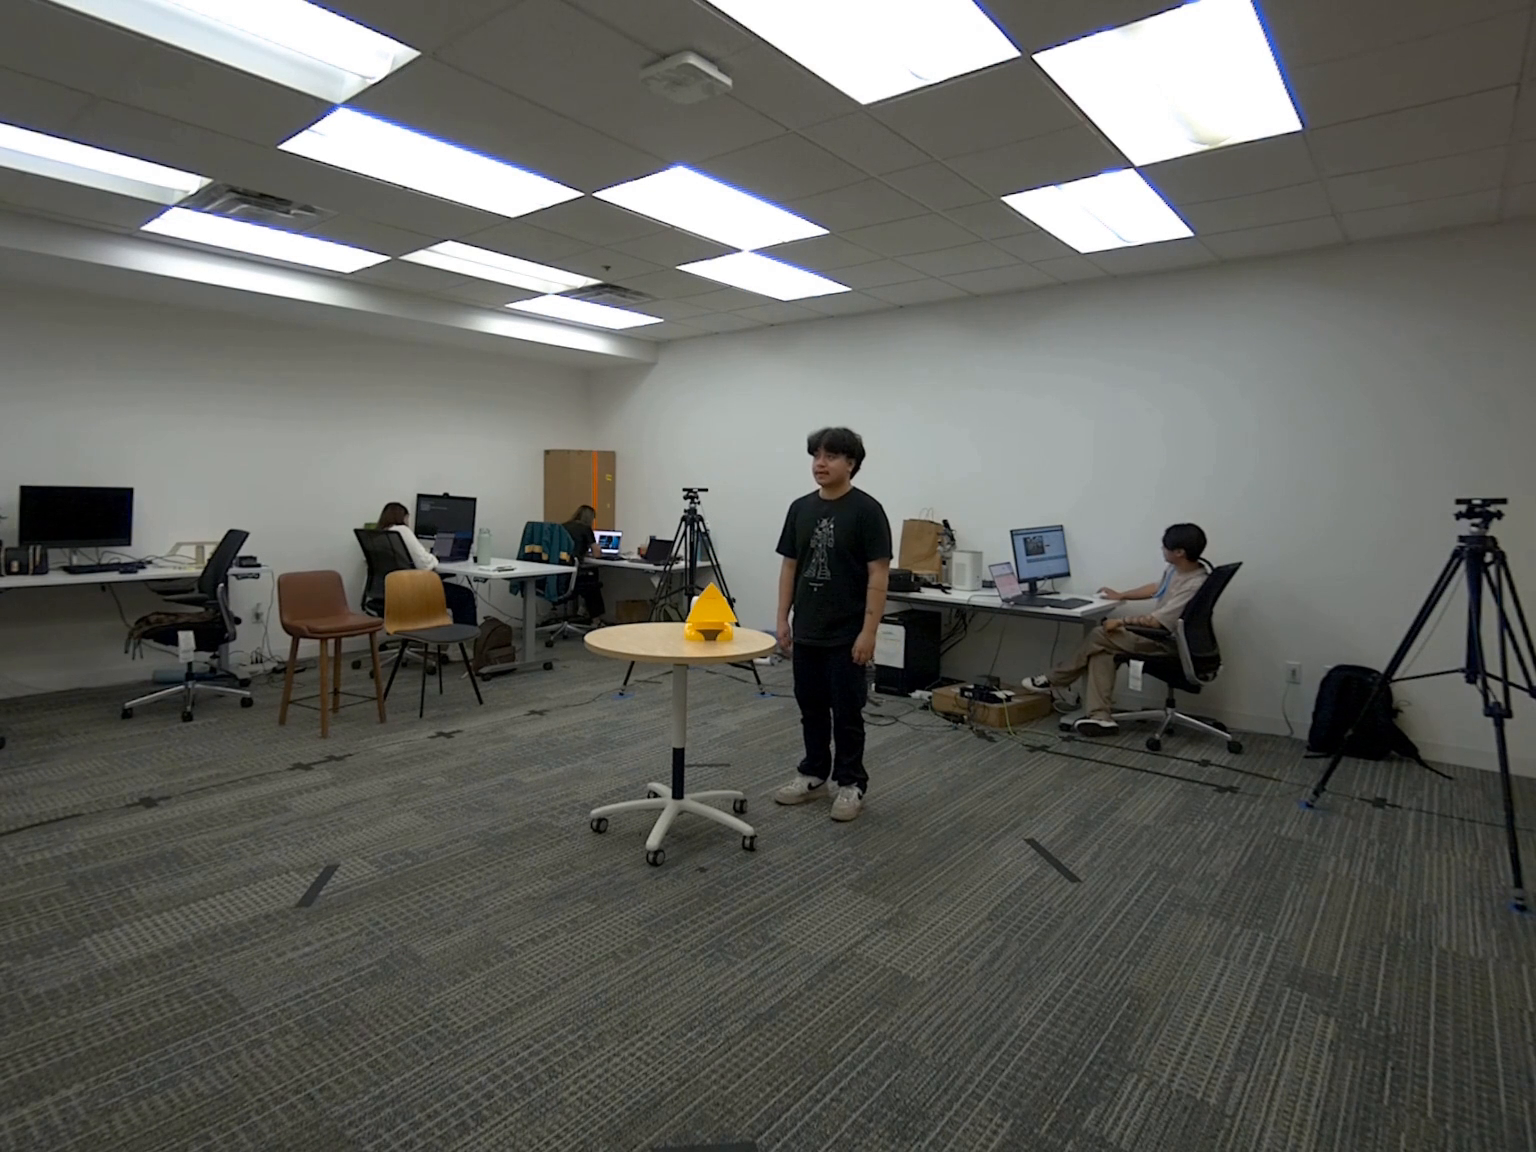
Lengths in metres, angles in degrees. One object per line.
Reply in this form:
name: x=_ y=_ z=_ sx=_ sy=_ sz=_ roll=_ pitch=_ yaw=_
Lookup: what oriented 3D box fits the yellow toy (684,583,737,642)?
yellow toy: x=-0.253 y=0.131 z=3.421 sx=0.203 sy=0.230 sz=0.196 roll=0 pitch=5 yaw=-10
